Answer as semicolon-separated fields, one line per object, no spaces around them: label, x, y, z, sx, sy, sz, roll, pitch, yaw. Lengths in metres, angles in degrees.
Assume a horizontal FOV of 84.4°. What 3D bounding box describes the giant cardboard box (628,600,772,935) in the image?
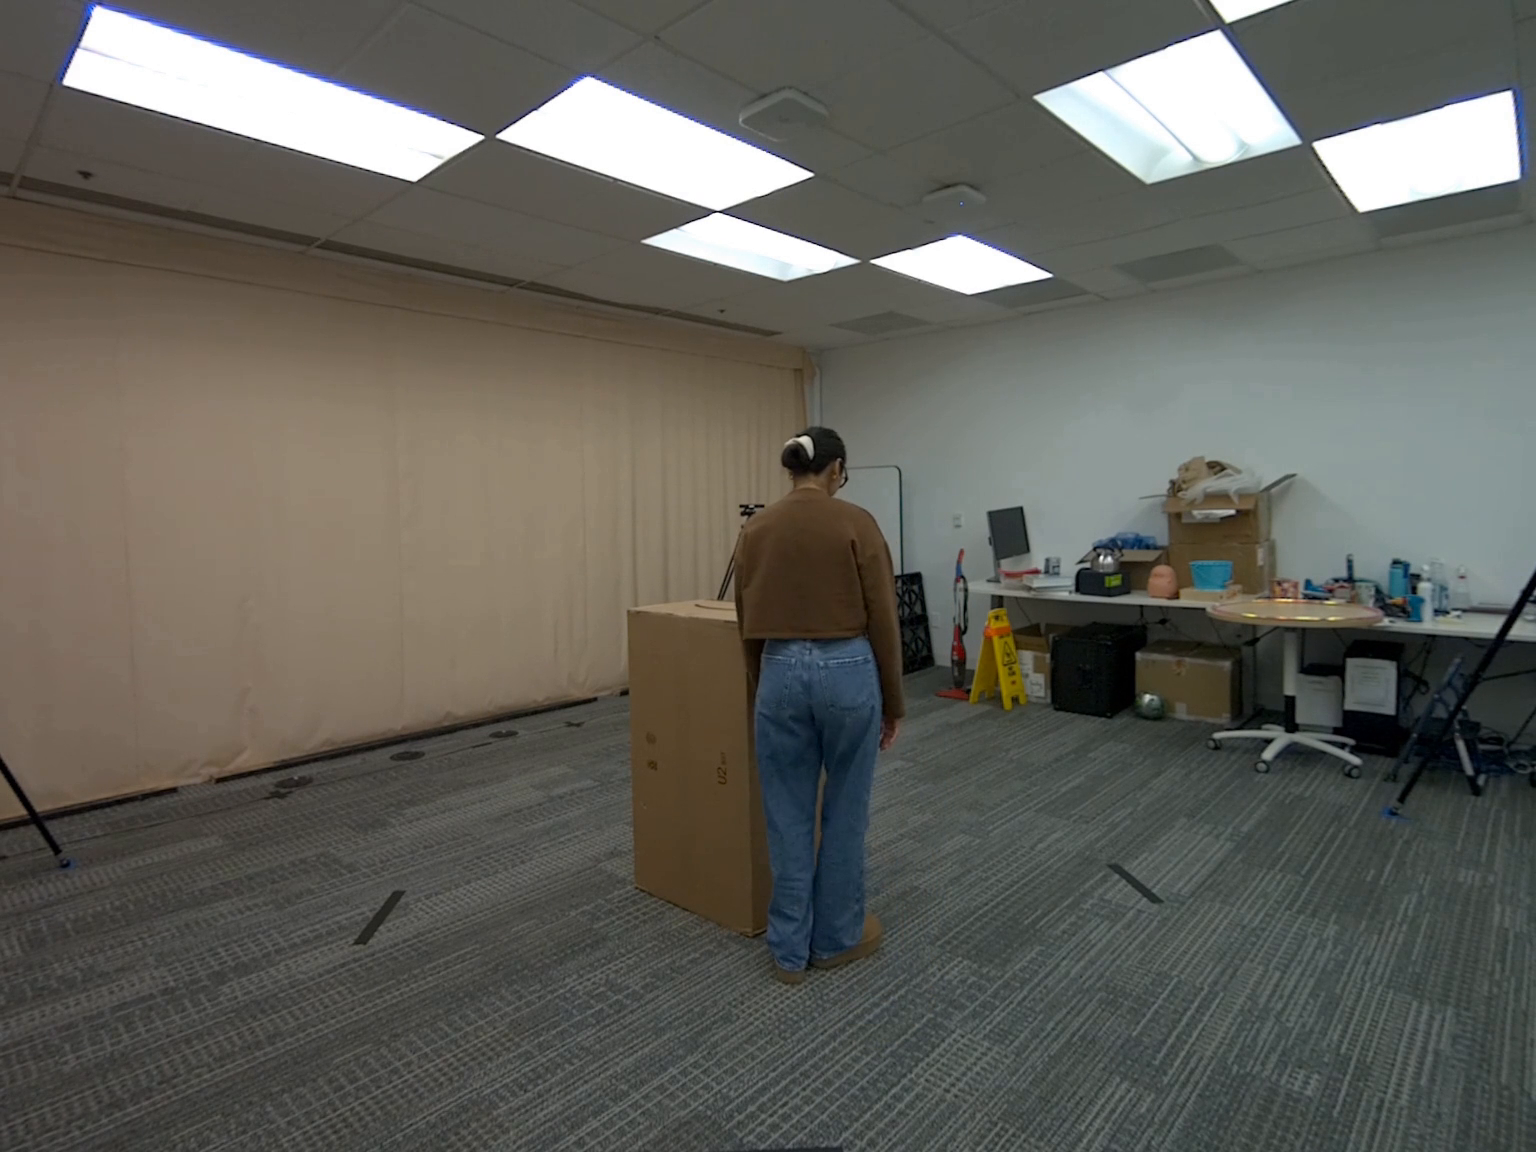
giant cardboard box;-0.146;0.632;3.029;0.603;1.025;0.433;2;4;40
